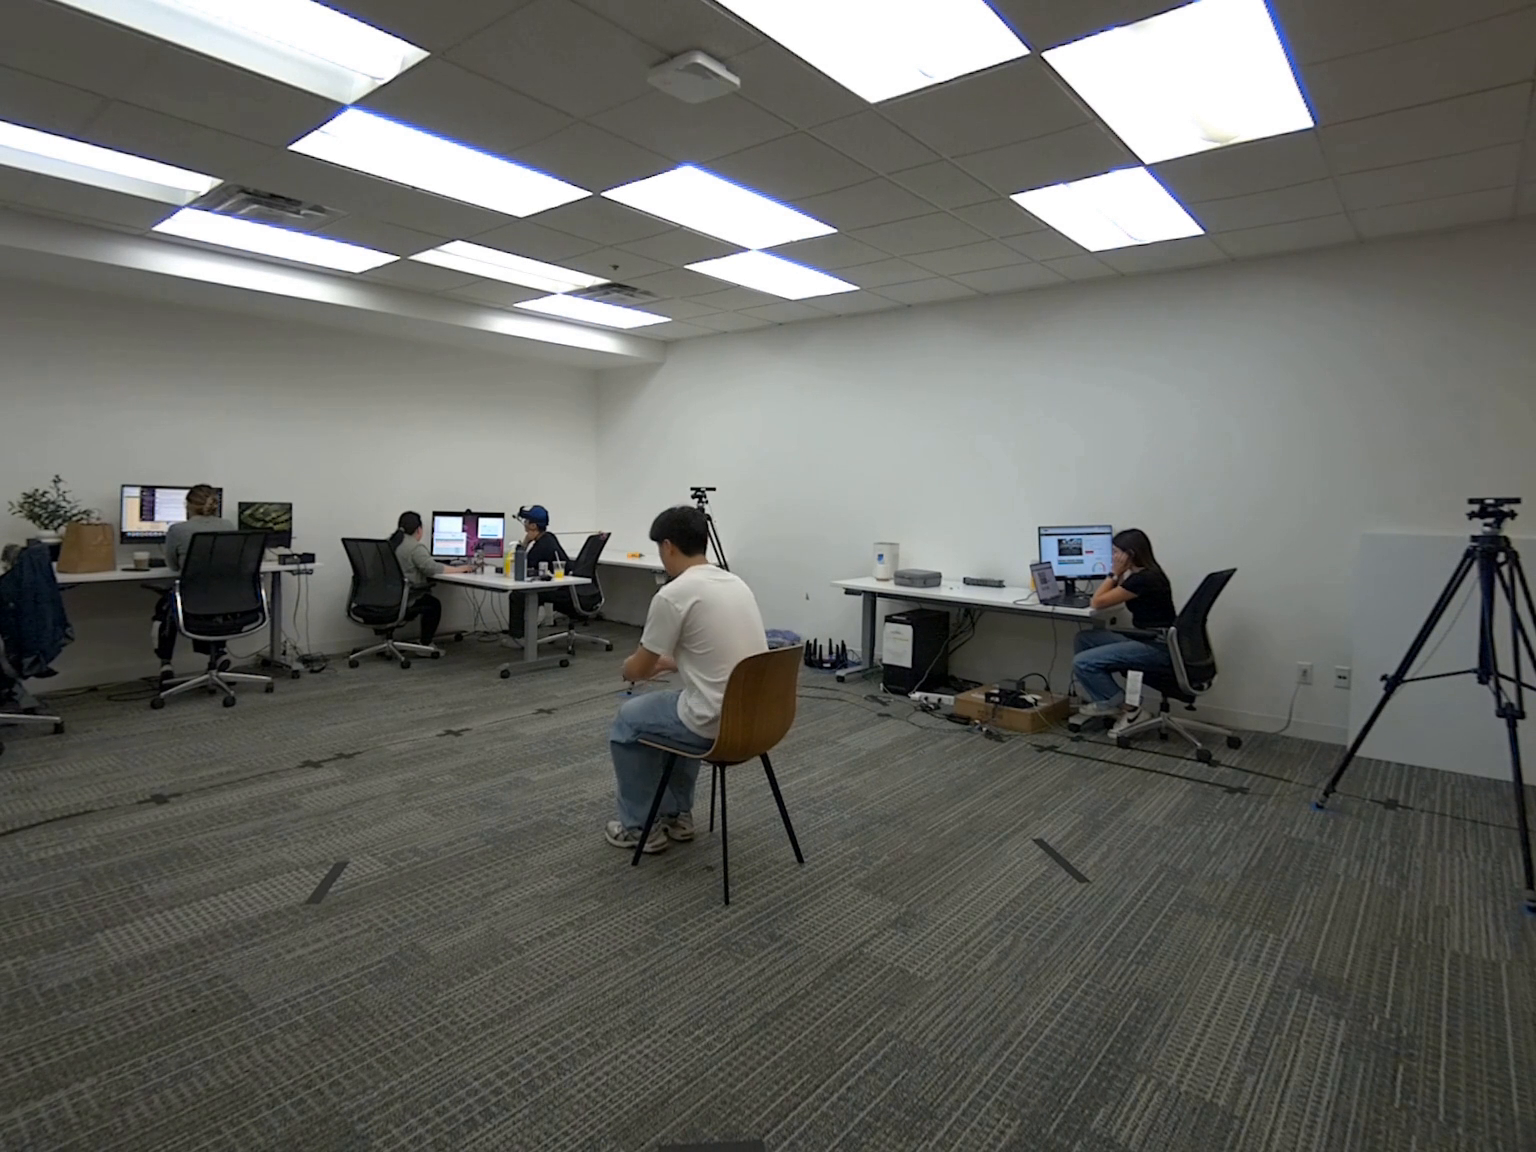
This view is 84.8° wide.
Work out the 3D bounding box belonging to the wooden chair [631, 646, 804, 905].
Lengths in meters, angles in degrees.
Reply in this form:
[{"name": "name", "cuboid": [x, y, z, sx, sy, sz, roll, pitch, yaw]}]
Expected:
[{"name": "wooden chair", "cuboid": [-0.184, 0.639, 3.120, 0.542, 0.873, 0.464, 9, 7, 38]}]
